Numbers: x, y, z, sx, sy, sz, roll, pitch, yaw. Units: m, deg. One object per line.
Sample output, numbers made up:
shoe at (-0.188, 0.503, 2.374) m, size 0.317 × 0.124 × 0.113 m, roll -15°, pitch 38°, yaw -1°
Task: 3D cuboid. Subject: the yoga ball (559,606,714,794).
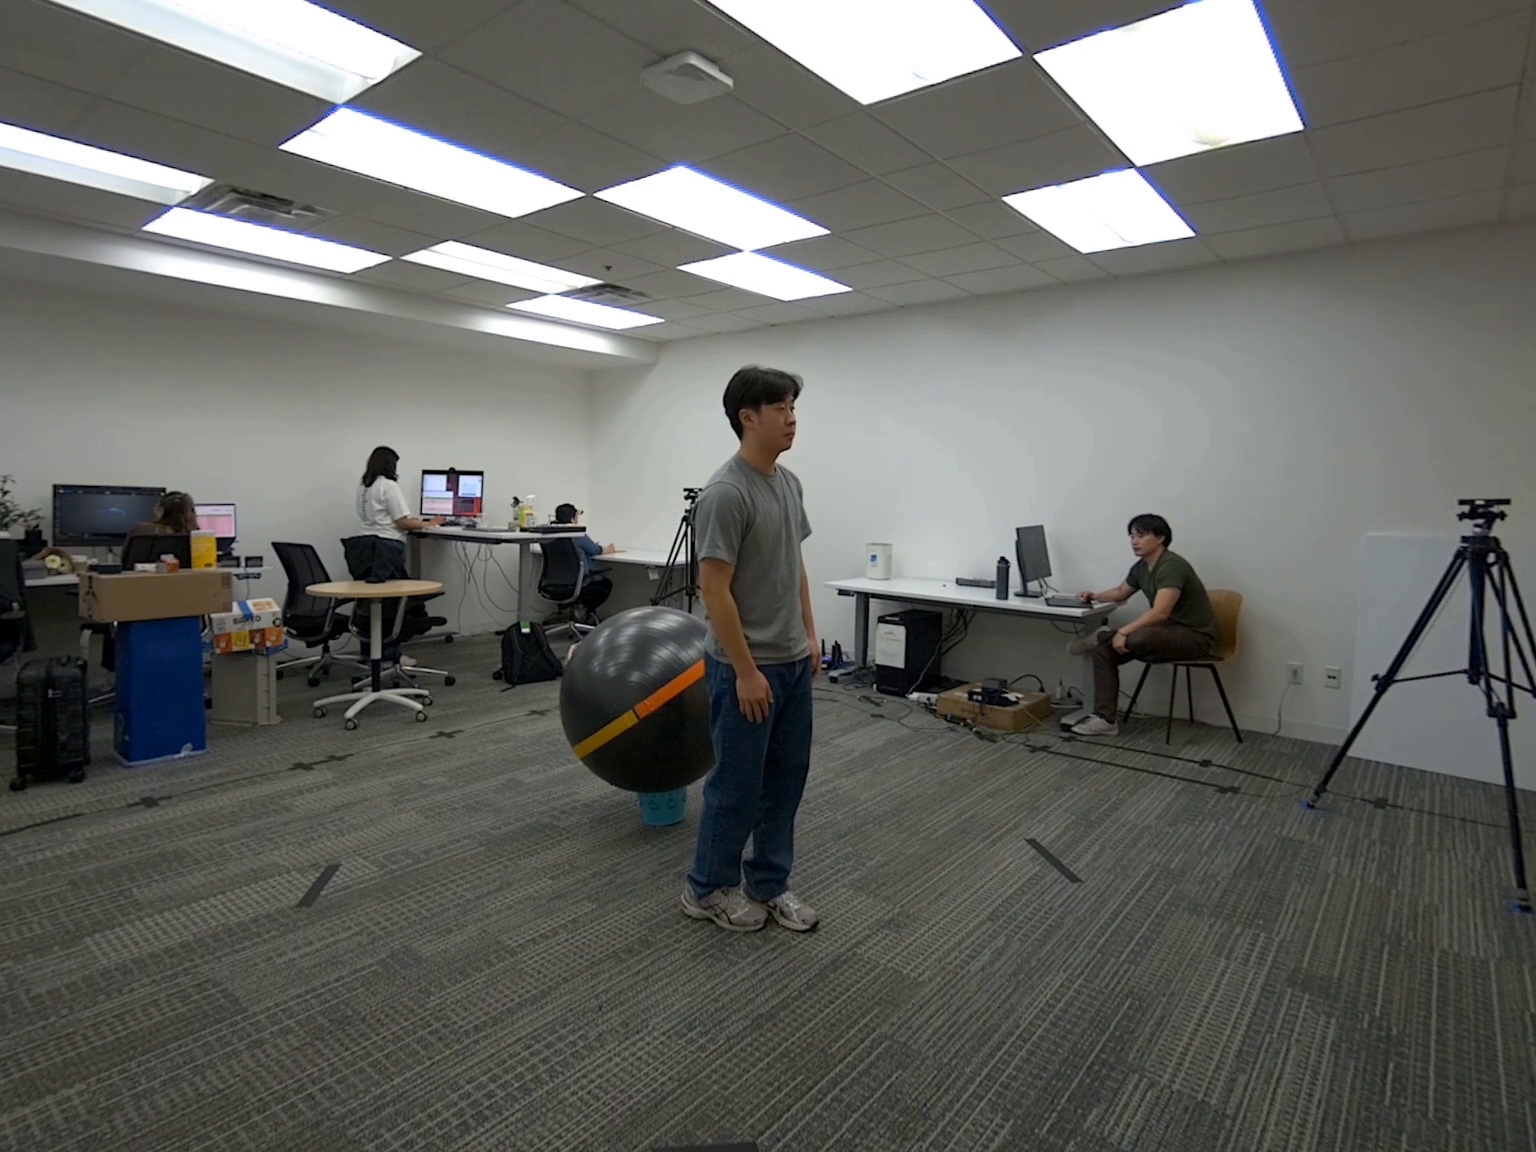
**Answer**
yoga ball at (-0.499, 0.511, 3.548) m, size 0.757 × 0.756 × 0.761 m, roll 1°, pitch 4°, yaw -2°
